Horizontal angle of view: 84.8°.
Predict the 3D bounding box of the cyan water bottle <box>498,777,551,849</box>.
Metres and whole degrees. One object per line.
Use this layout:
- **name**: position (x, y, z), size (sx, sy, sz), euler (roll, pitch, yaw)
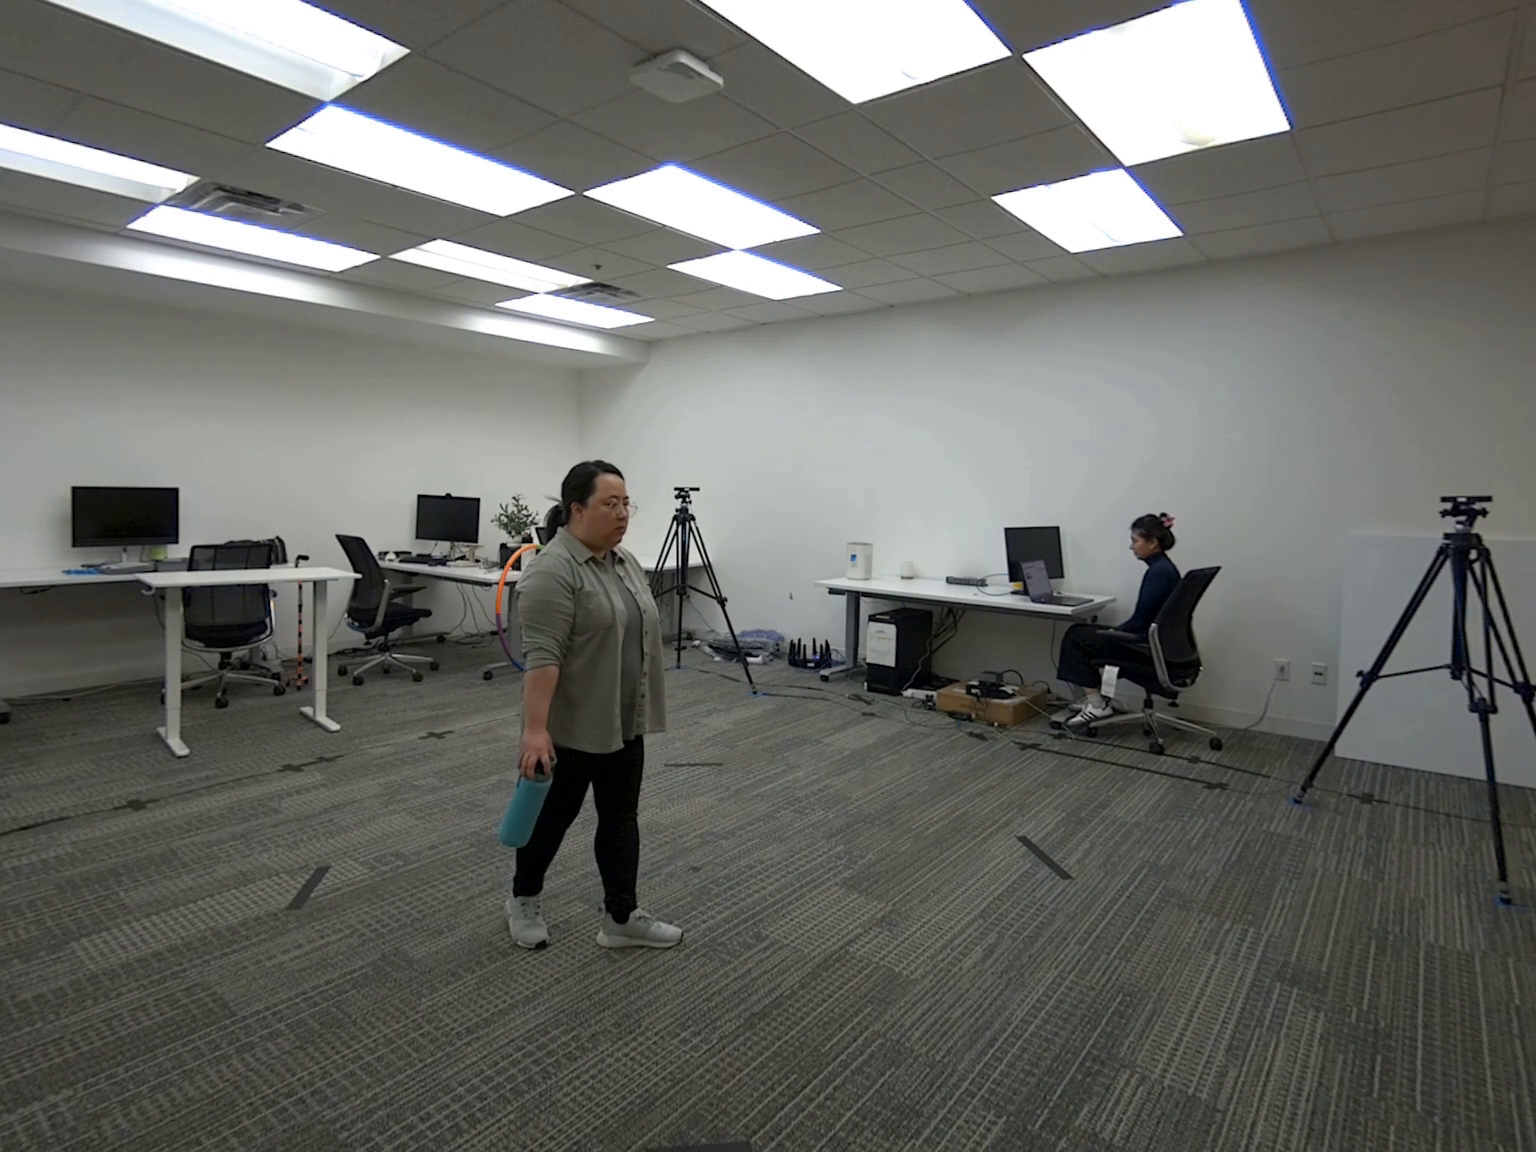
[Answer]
- **cyan water bottle**: position (-0.658, 0.604, 2.312), size (0.091, 0.281, 0.094), euler (19, 19, -9)
